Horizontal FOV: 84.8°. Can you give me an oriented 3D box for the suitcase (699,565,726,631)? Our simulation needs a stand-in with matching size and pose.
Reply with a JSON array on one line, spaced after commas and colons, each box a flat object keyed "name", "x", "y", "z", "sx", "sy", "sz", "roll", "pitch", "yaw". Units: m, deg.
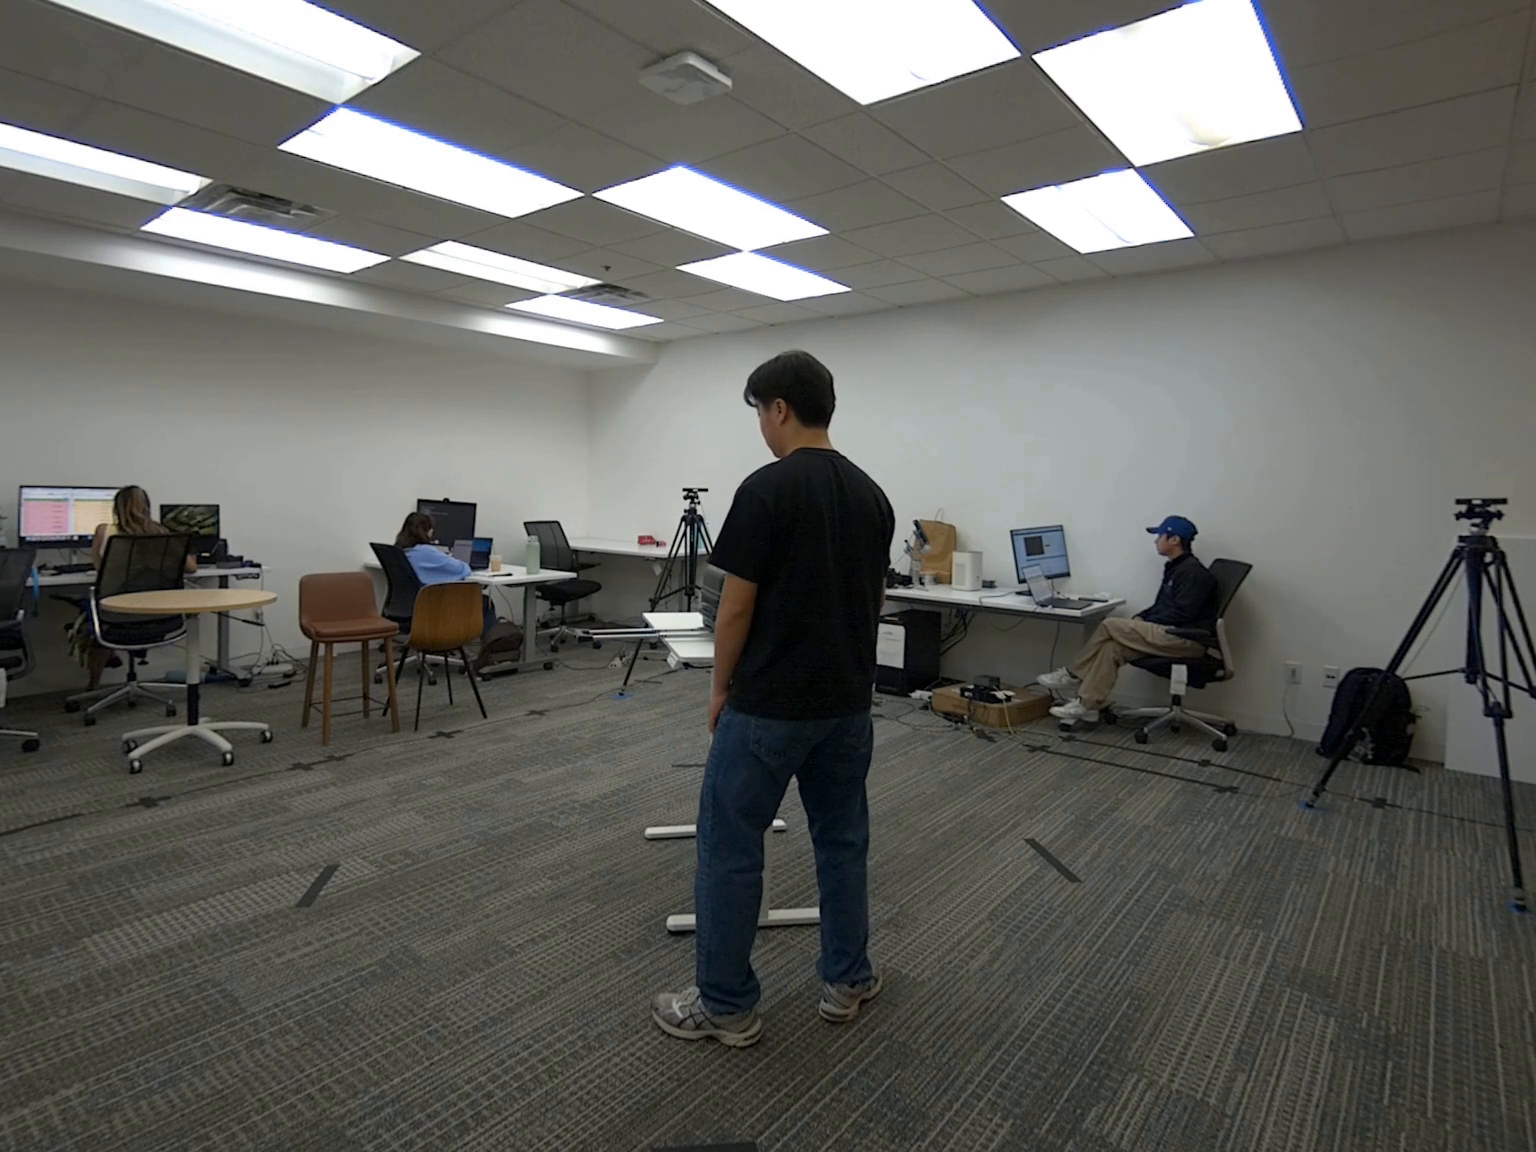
[{"name": "suitcase", "x": -0.150, "y": 0.086, "z": 2.888, "sx": 0.964, "sy": 0.256, "sz": 0.391, "roll": 2, "pitch": 4, "yaw": -13}]
